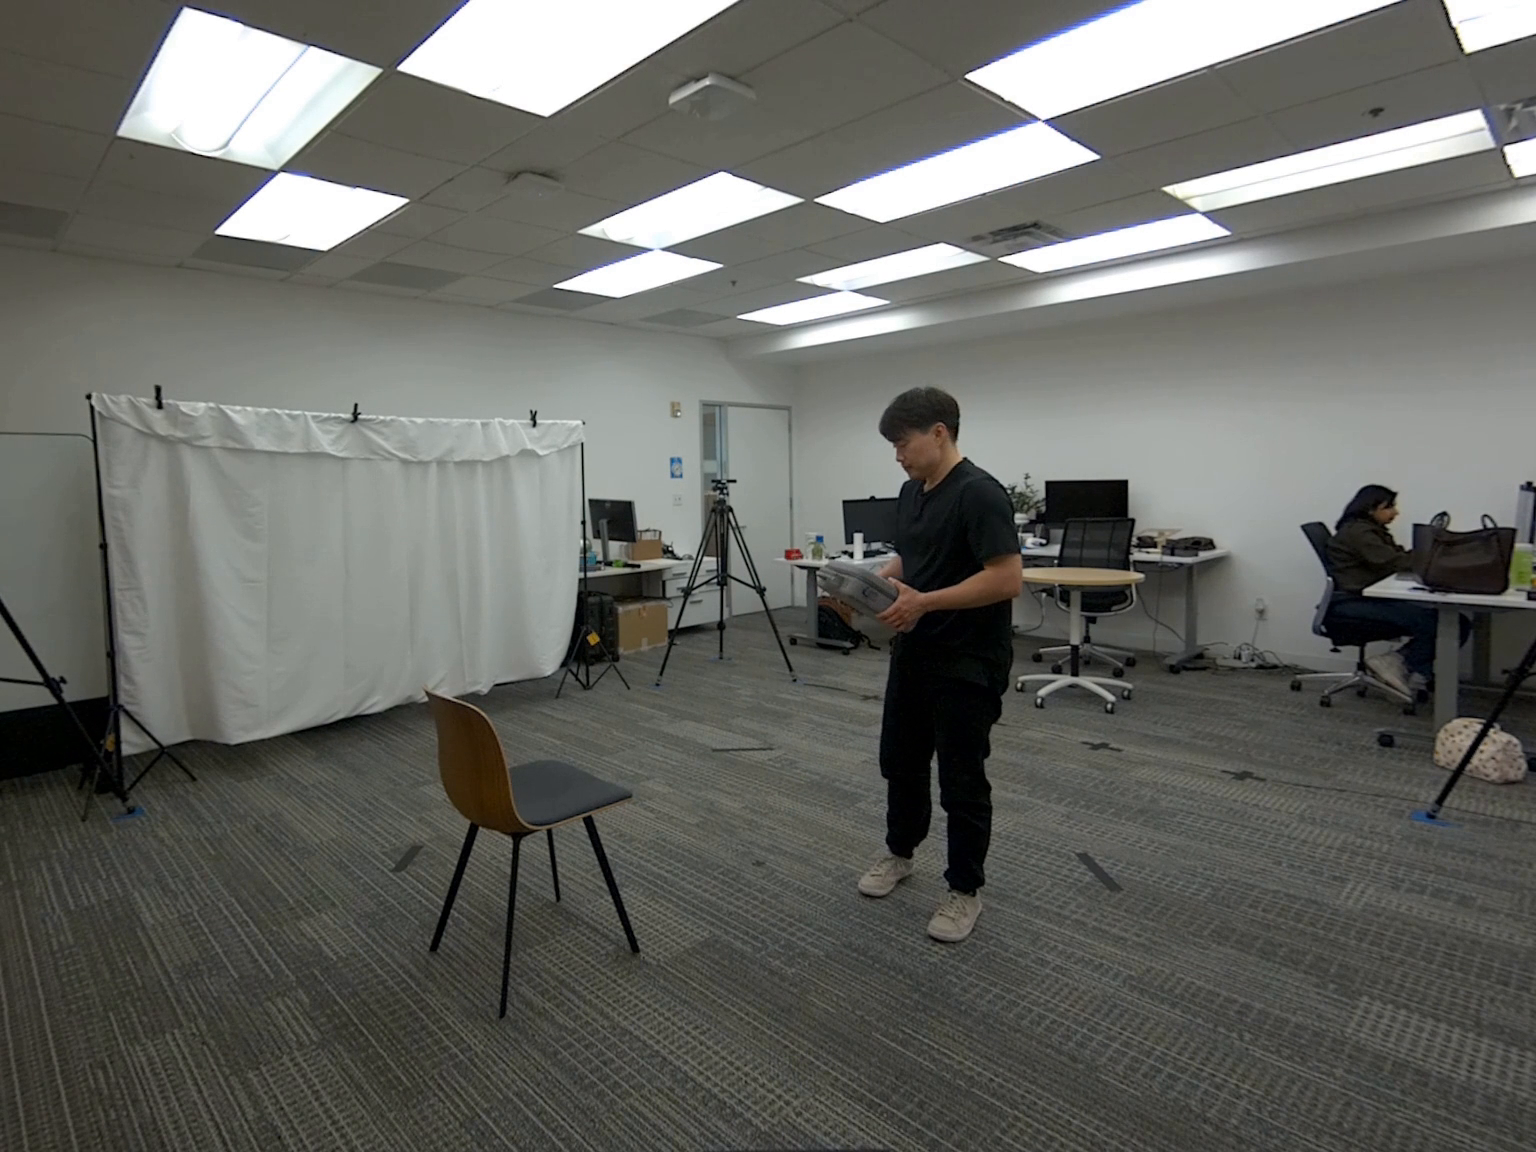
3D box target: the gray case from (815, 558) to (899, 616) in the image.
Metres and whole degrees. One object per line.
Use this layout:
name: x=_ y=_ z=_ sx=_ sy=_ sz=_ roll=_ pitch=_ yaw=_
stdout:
gray case: x=0.306 y=0.052 z=2.575 sx=0.256 sy=0.104 sz=0.261 roll=29 pitch=-3 yaw=-15
